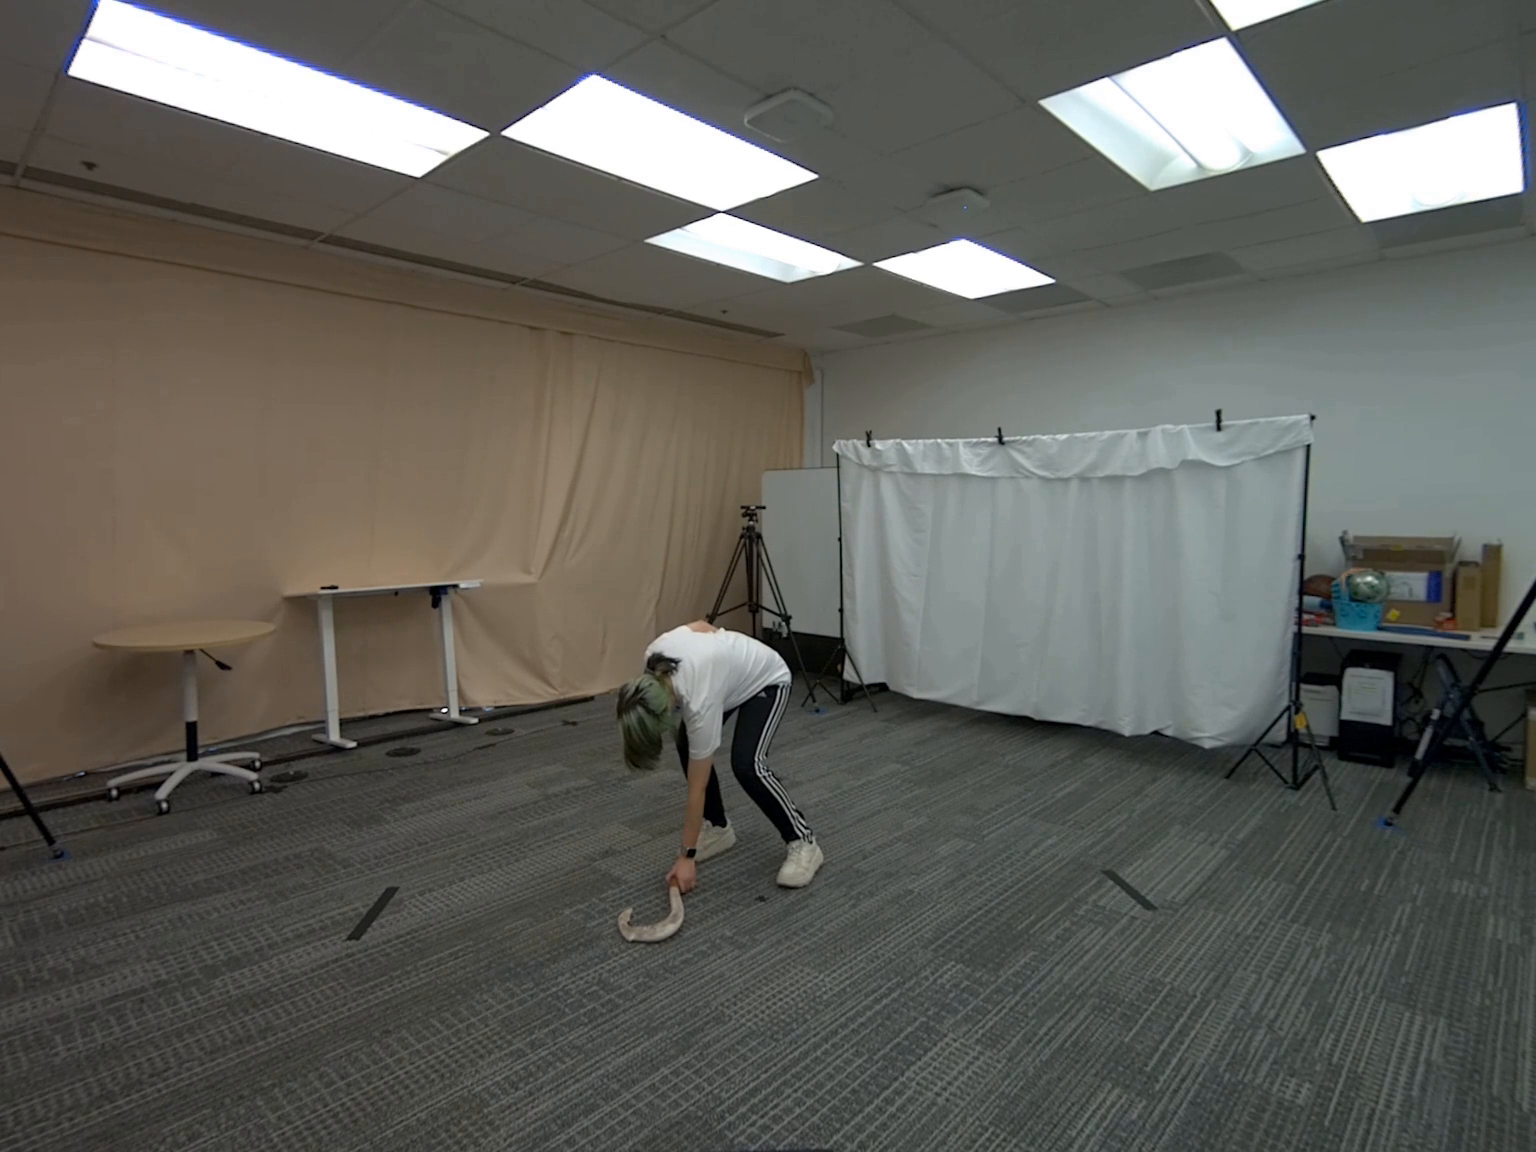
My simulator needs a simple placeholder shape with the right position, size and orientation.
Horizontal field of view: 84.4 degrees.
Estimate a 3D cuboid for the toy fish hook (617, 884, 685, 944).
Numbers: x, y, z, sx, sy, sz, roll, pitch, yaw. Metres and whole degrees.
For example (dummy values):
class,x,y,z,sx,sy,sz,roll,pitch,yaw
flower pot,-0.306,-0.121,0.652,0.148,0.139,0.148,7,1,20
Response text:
class,x,y,z,sx,sy,sz,roll,pitch,yaw
toy fish hook,-0.386,1.118,2.923,0.226,0.048,0.505,0,7,4
